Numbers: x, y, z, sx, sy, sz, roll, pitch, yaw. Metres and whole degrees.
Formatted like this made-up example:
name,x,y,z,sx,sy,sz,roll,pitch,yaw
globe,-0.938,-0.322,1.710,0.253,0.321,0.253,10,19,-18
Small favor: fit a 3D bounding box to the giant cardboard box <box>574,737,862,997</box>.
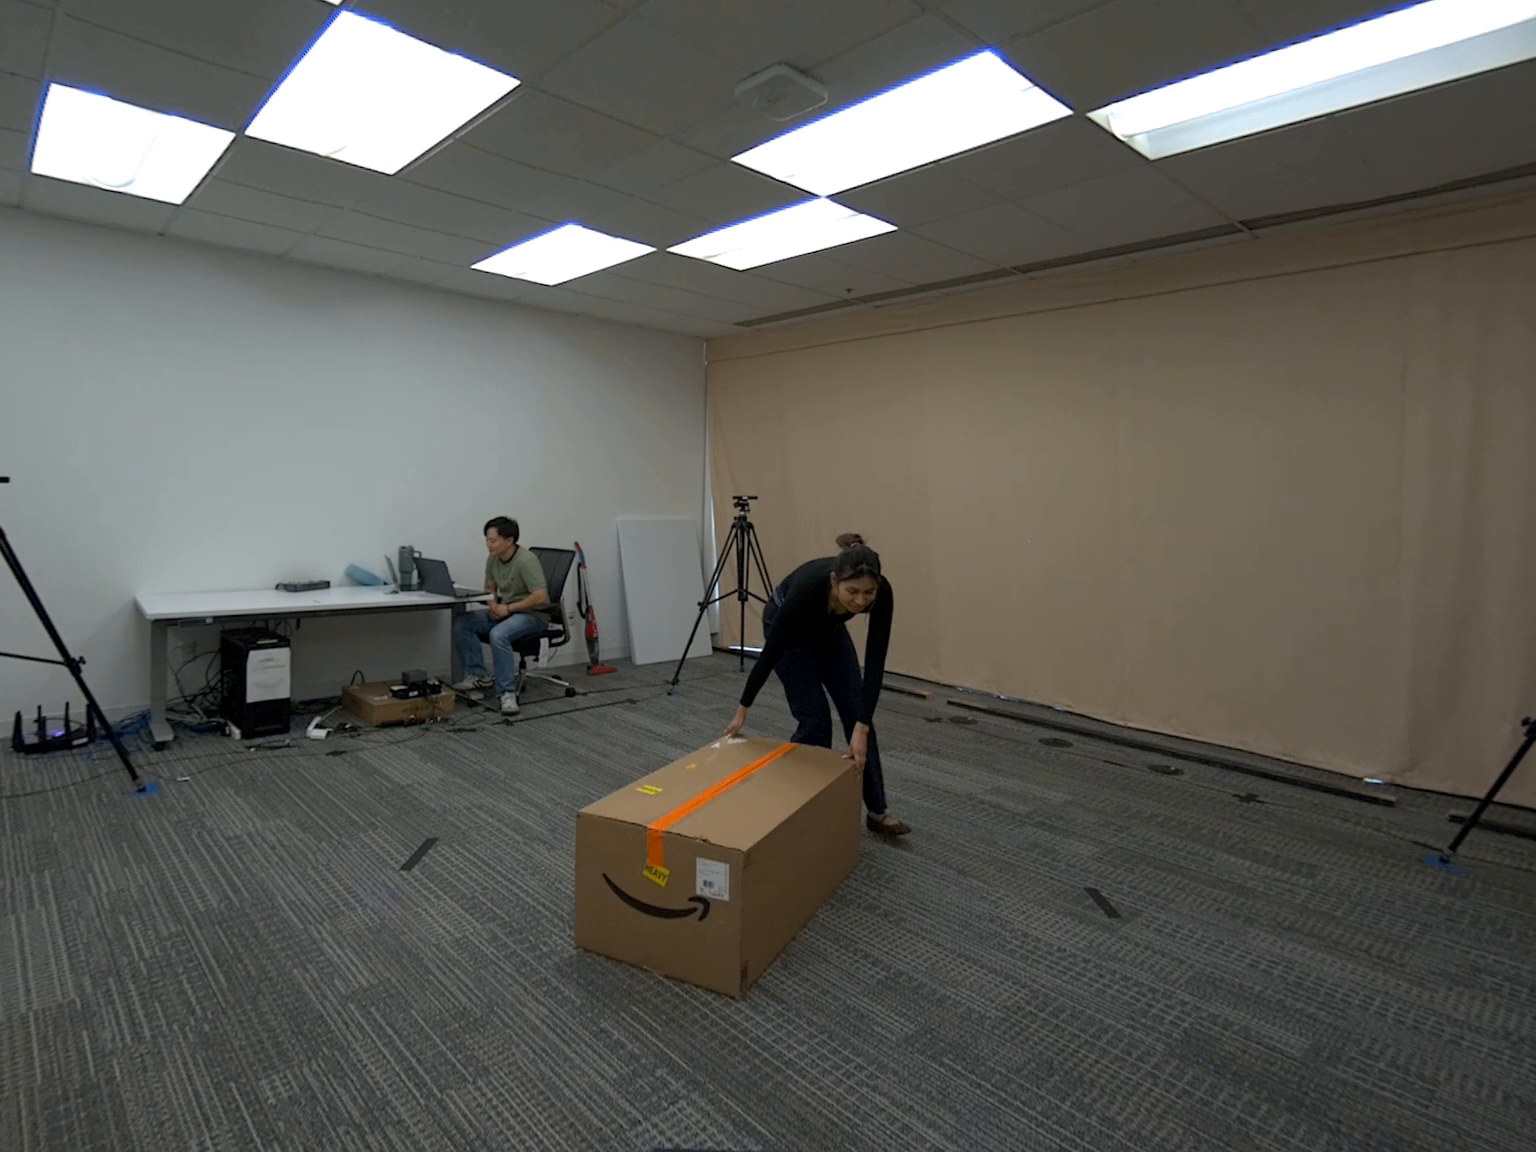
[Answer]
name,x,y,z,sx,sy,sz,roll,pitch,yaw
giant cardboard box,-0.125,0.907,2.890,0.589,0.425,1.008,3,5,26
